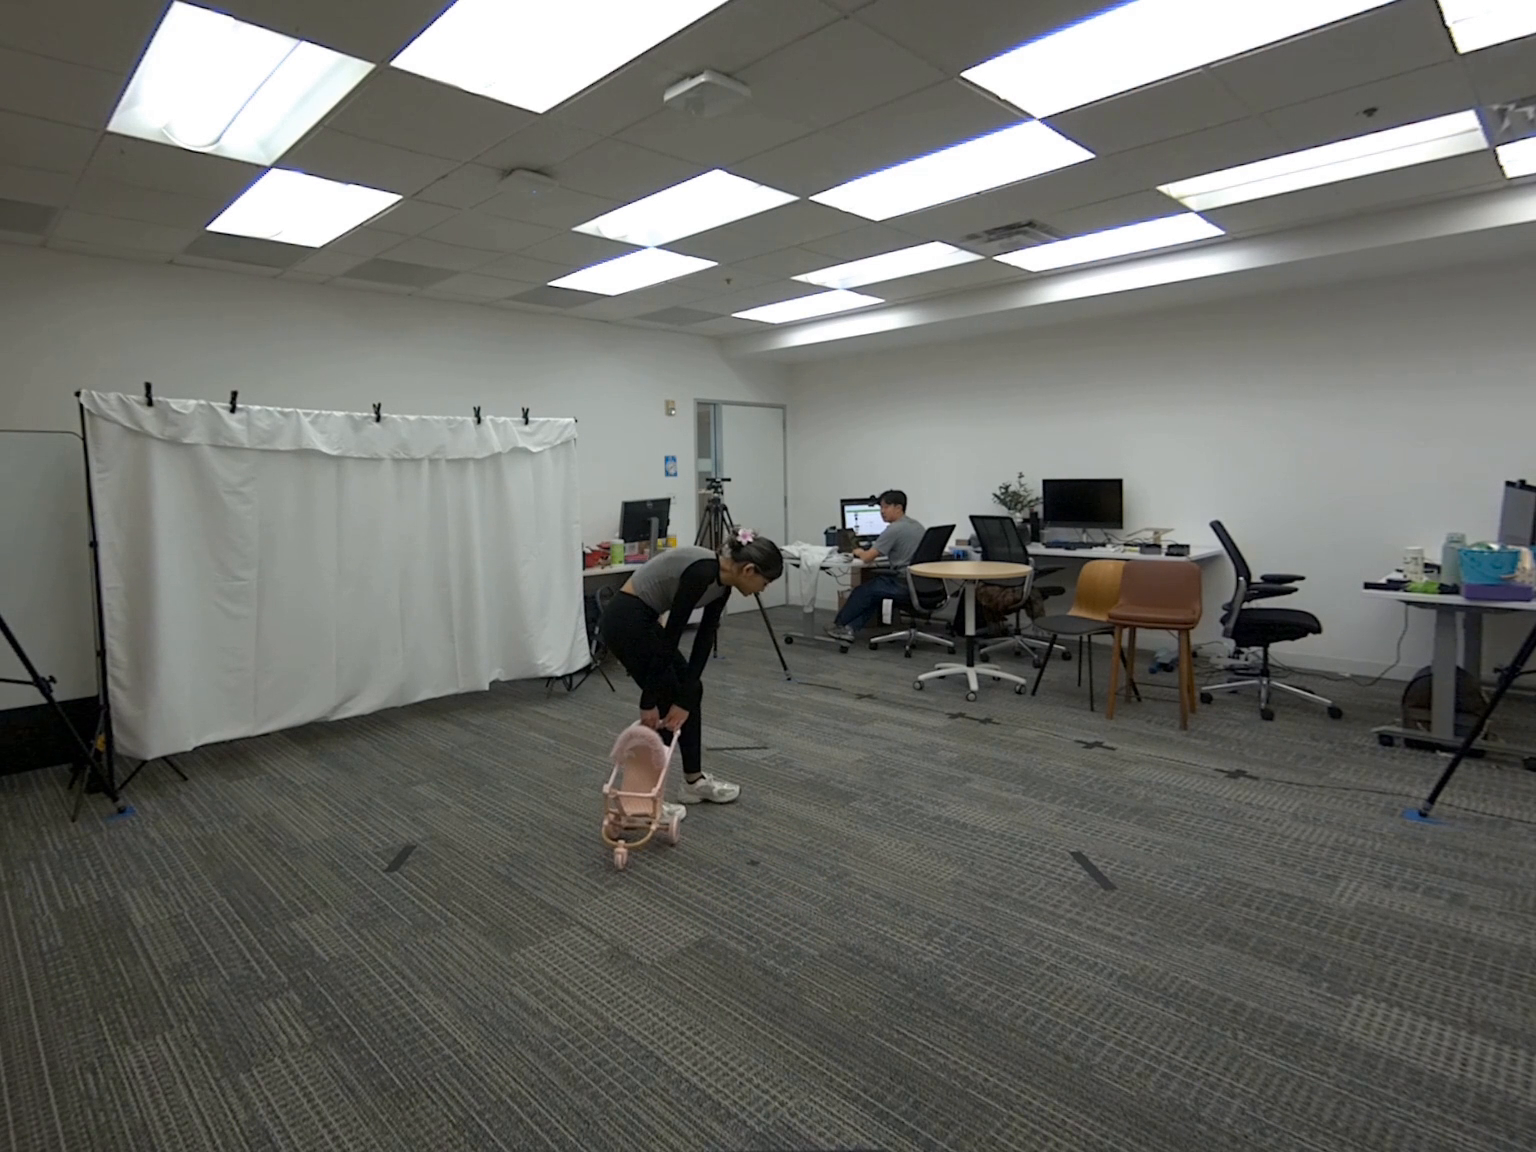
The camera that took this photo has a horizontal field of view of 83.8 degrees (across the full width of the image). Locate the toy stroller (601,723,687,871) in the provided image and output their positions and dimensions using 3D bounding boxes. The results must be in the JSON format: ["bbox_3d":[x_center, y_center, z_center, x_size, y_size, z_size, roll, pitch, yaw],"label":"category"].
[{"bbox_3d":[-0.495,0.811,3.240,0.286,0.540,0.332,0,-12,16],"label":"toy stroller"}]
